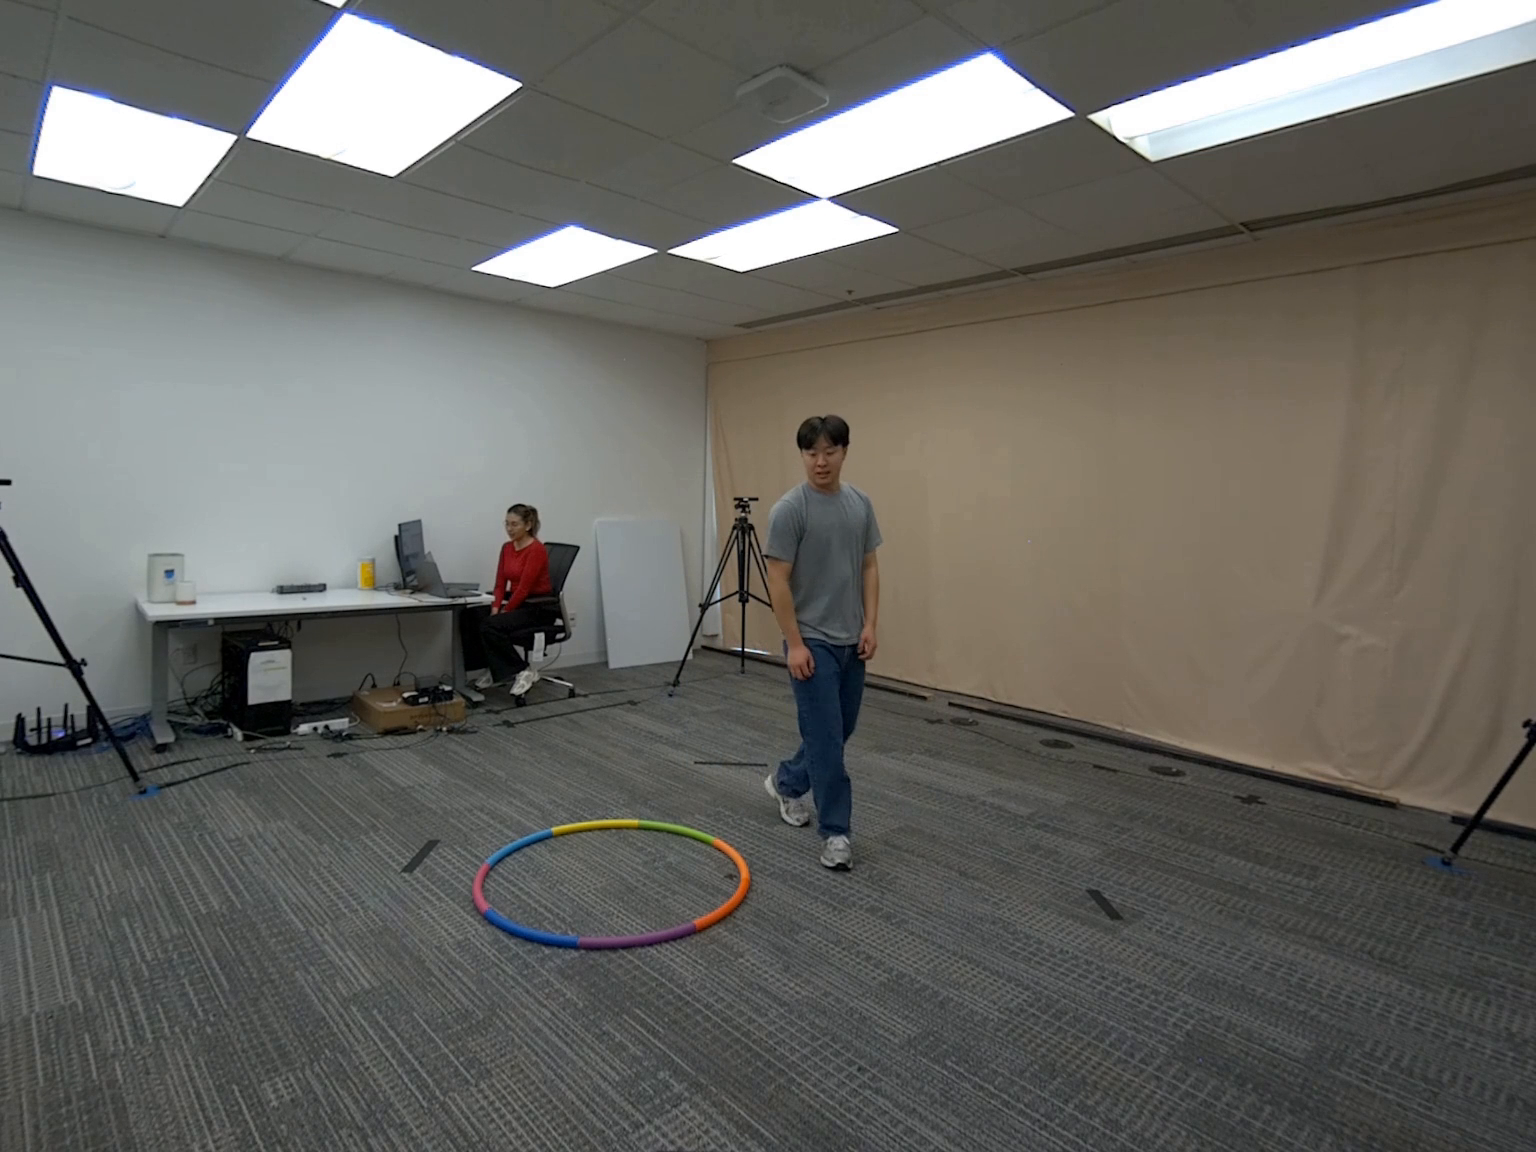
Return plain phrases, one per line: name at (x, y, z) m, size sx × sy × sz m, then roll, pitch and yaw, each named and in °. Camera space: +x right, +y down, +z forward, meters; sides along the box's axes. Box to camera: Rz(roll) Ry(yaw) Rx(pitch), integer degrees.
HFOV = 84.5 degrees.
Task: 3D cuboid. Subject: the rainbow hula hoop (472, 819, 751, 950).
rainbow hula hoop at (-0.570, 1.069, 3.060) m, size 0.978 × 0.035 × 0.982 m, roll 2°, pitch 5°, yaw -1°
